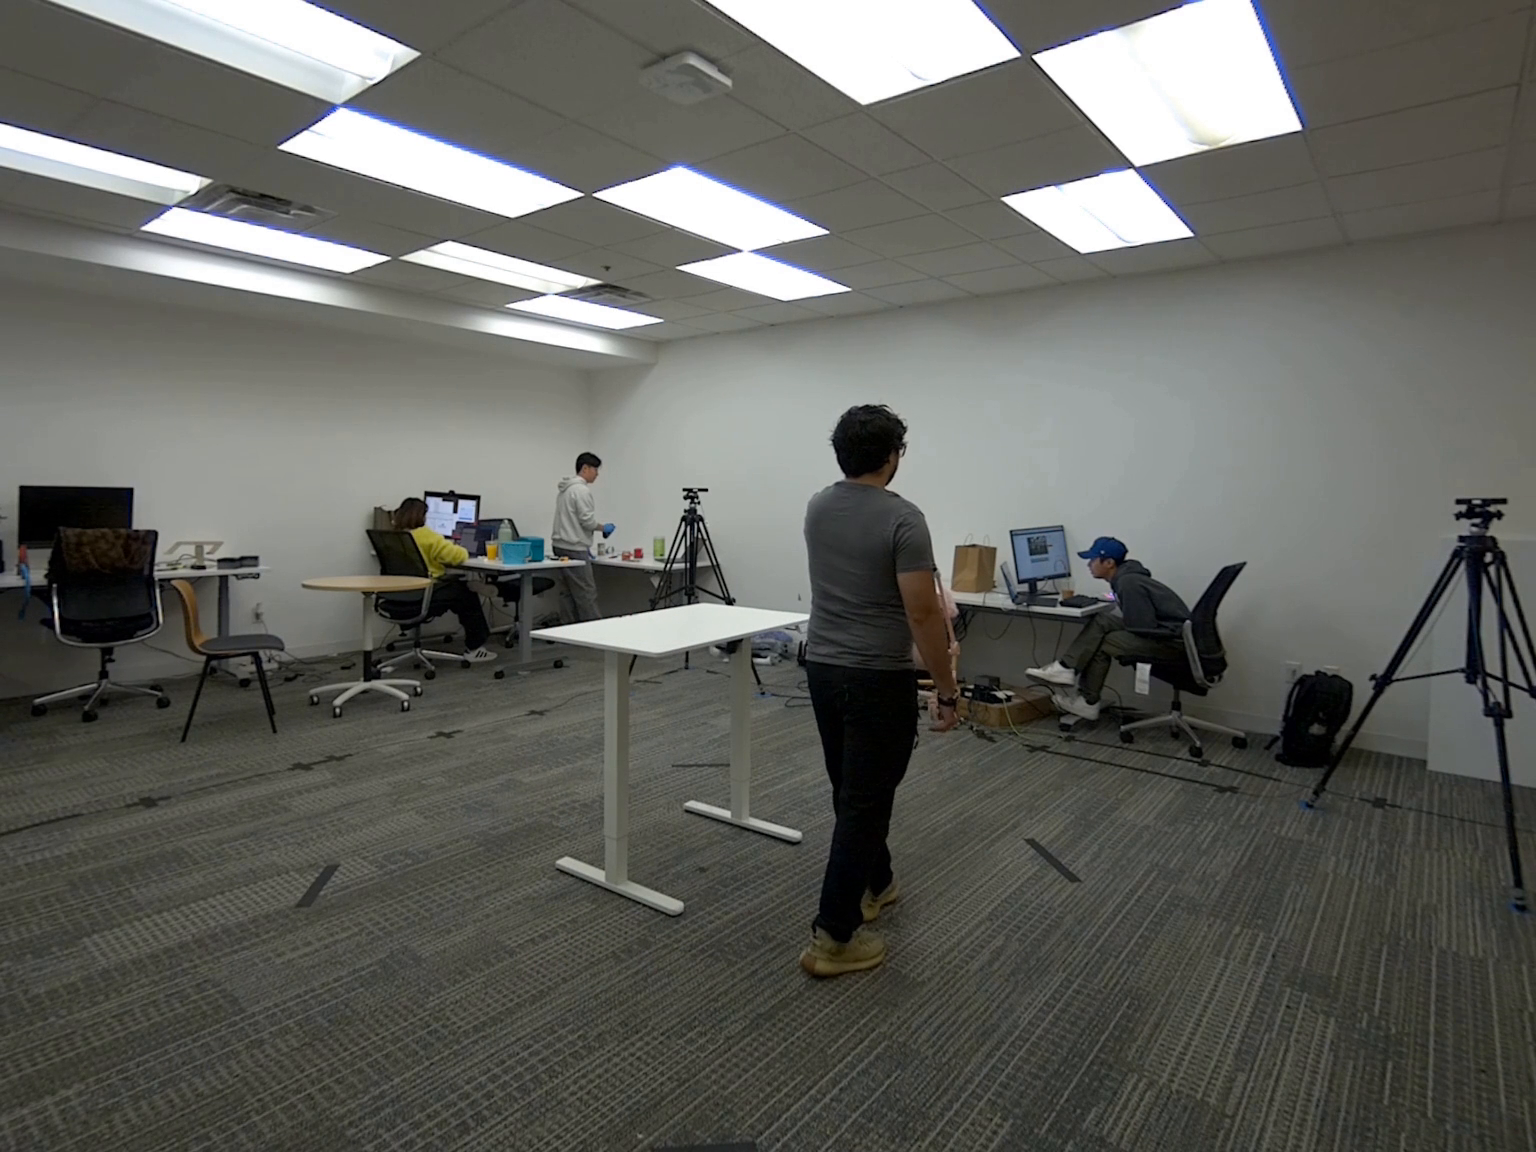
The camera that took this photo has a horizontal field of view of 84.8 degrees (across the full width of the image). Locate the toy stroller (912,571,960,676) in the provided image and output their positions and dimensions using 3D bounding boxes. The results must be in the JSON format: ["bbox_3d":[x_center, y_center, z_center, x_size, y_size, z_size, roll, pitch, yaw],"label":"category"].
[{"bbox_3d":[0.557,0.238,3.112,0.289,0.542,0.328,-8,-19,37],"label":"toy stroller"}]
